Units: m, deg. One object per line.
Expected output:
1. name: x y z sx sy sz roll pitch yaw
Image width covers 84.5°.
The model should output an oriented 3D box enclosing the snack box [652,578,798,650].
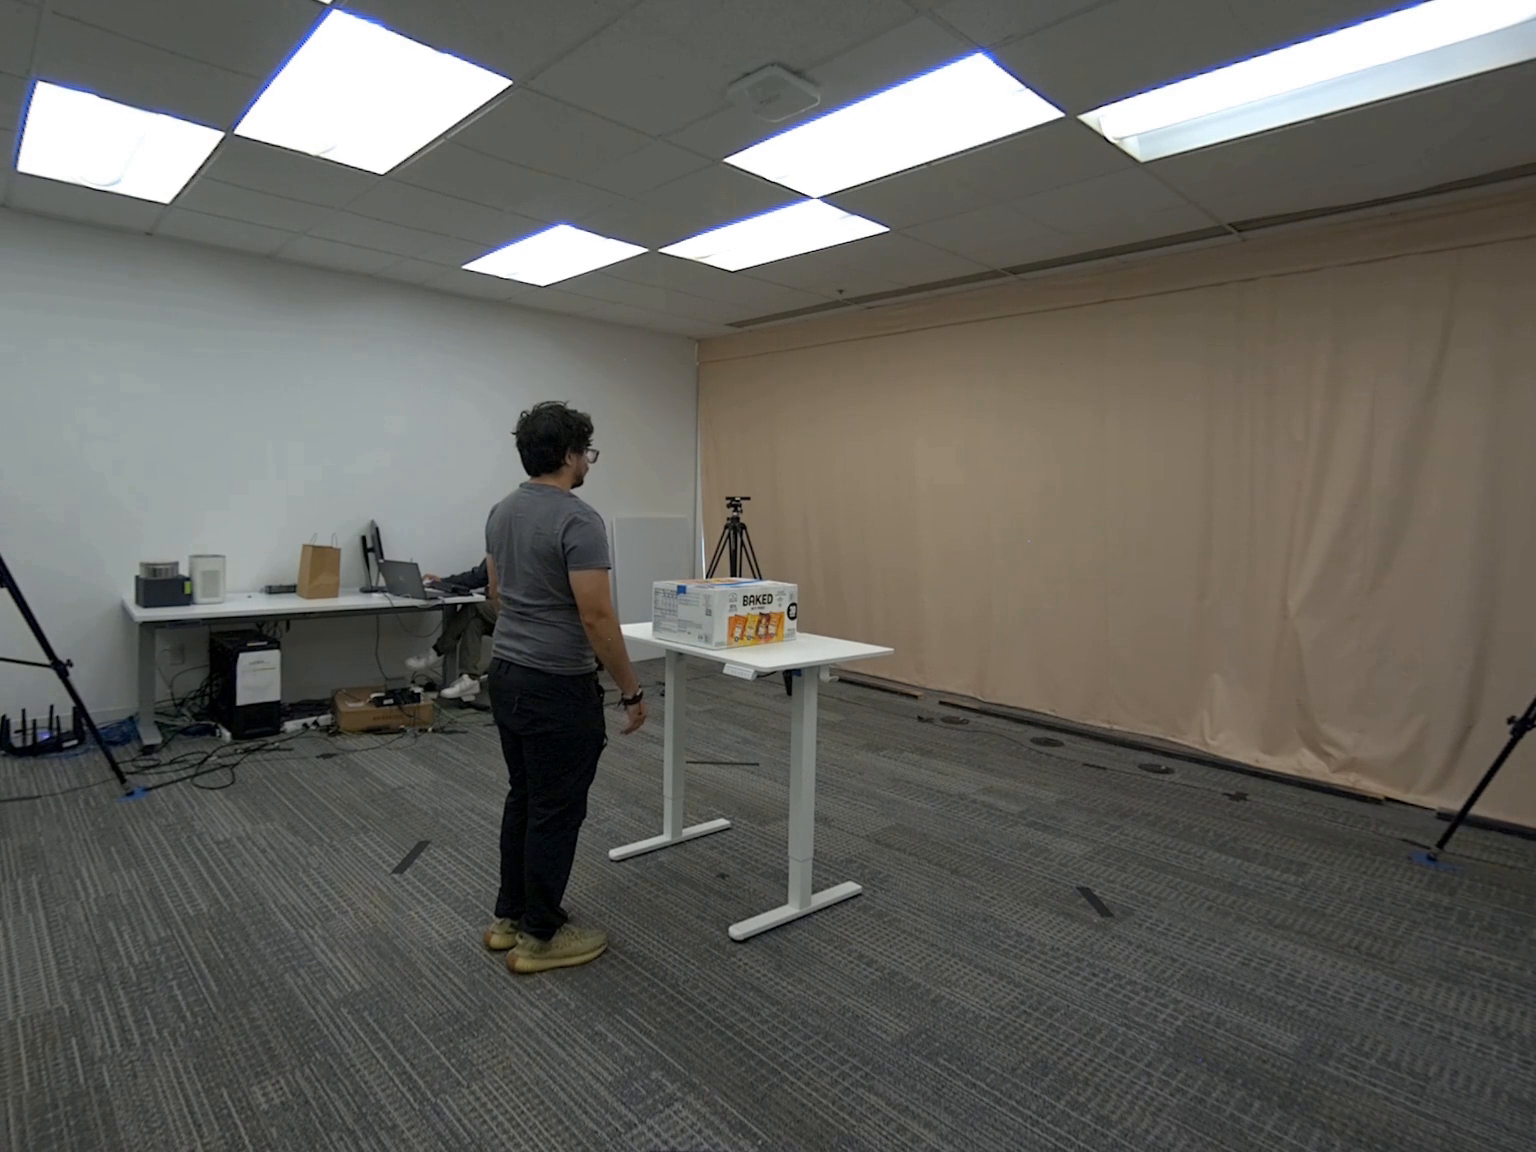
1. snack box: -0.162 0.127 3.030 0.396 0.205 0.349 -3 5 -44
